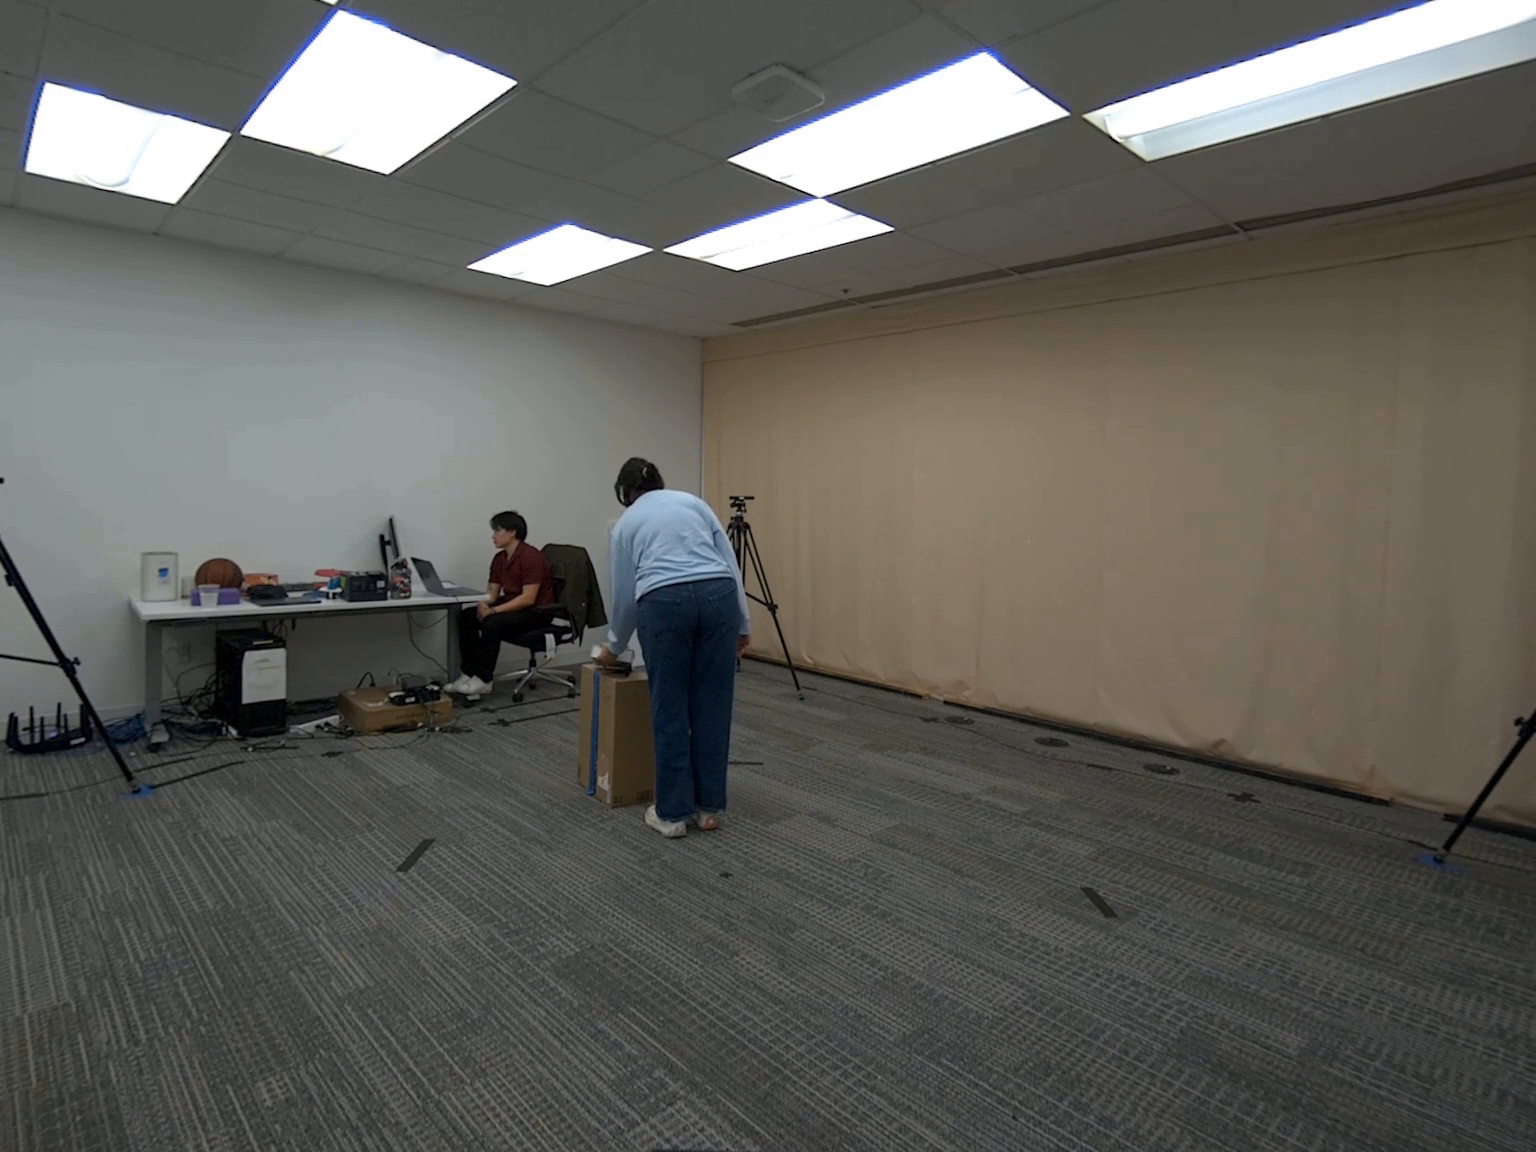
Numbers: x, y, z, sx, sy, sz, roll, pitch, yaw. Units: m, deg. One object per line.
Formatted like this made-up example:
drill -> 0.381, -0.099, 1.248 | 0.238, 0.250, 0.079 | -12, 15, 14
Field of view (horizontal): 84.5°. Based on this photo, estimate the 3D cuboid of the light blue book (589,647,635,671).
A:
light blue book -> -0.726, 0.385, 3.936 | 0.190, 0.059, 0.259 | 6, -14, -5
